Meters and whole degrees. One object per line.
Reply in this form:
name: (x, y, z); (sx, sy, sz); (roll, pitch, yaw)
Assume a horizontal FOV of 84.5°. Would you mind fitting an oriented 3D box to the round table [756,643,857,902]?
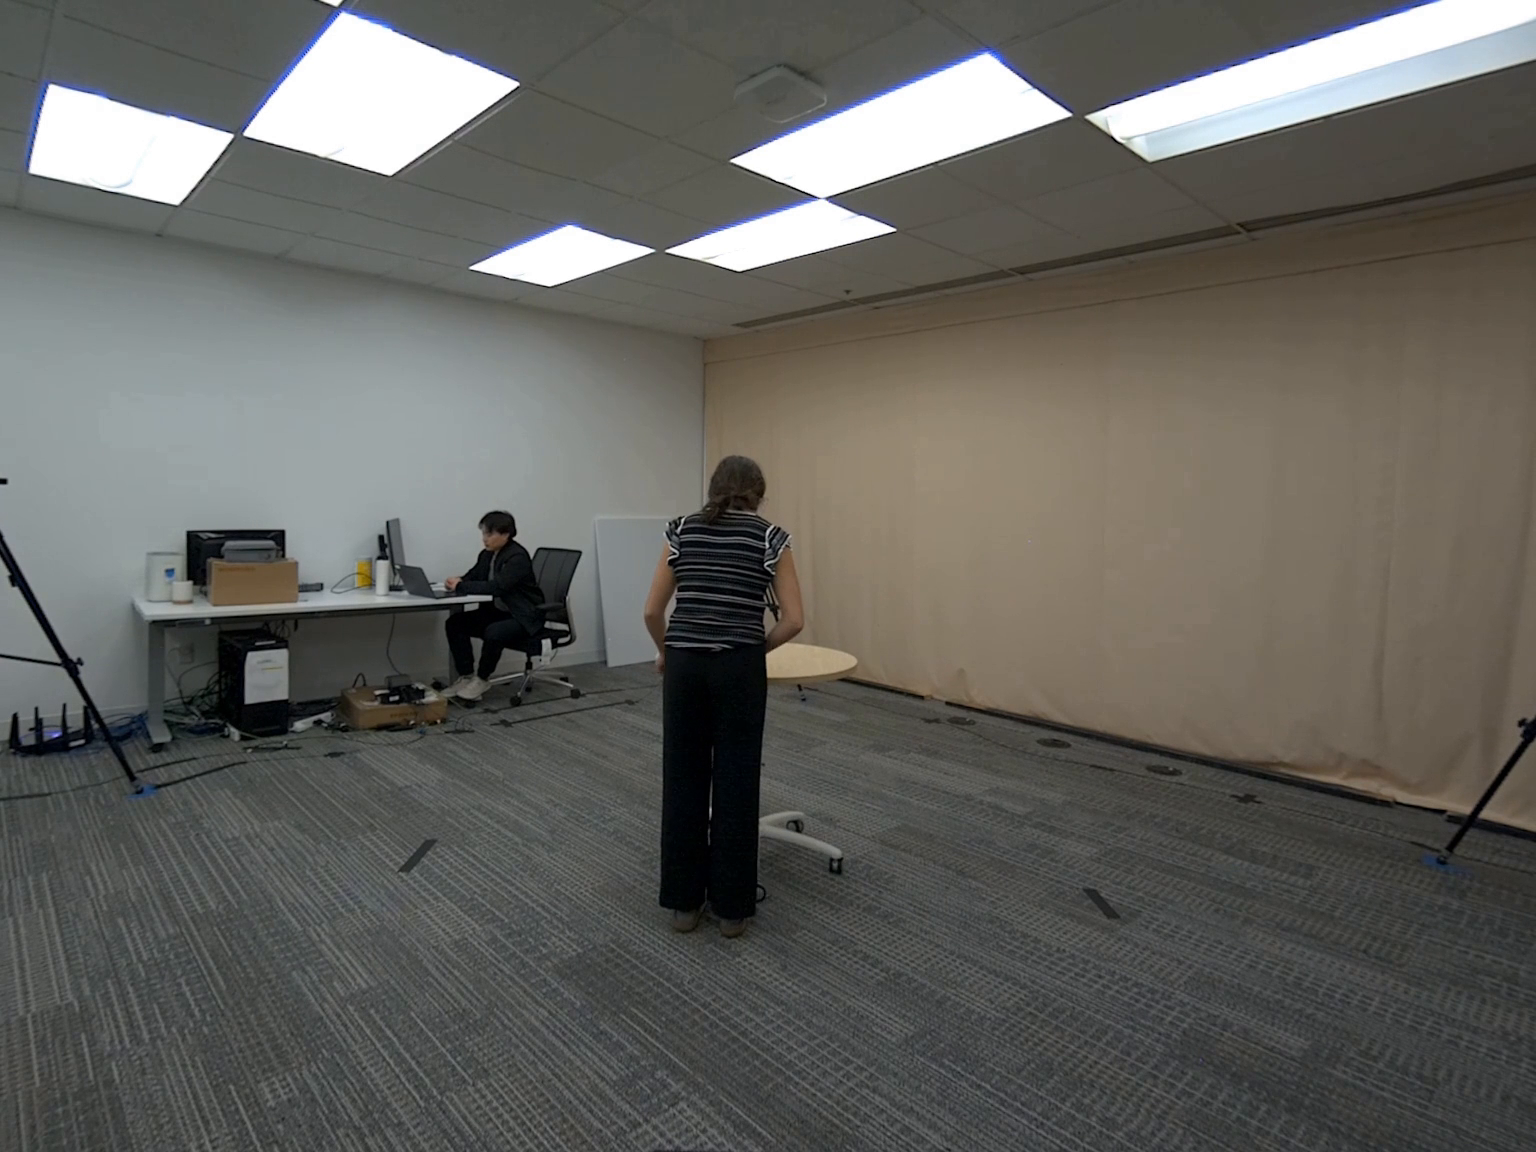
round table: (-0.045, 0.703, 3.252); (0.784, 0.784, 0.788); (1, 4, -1)
